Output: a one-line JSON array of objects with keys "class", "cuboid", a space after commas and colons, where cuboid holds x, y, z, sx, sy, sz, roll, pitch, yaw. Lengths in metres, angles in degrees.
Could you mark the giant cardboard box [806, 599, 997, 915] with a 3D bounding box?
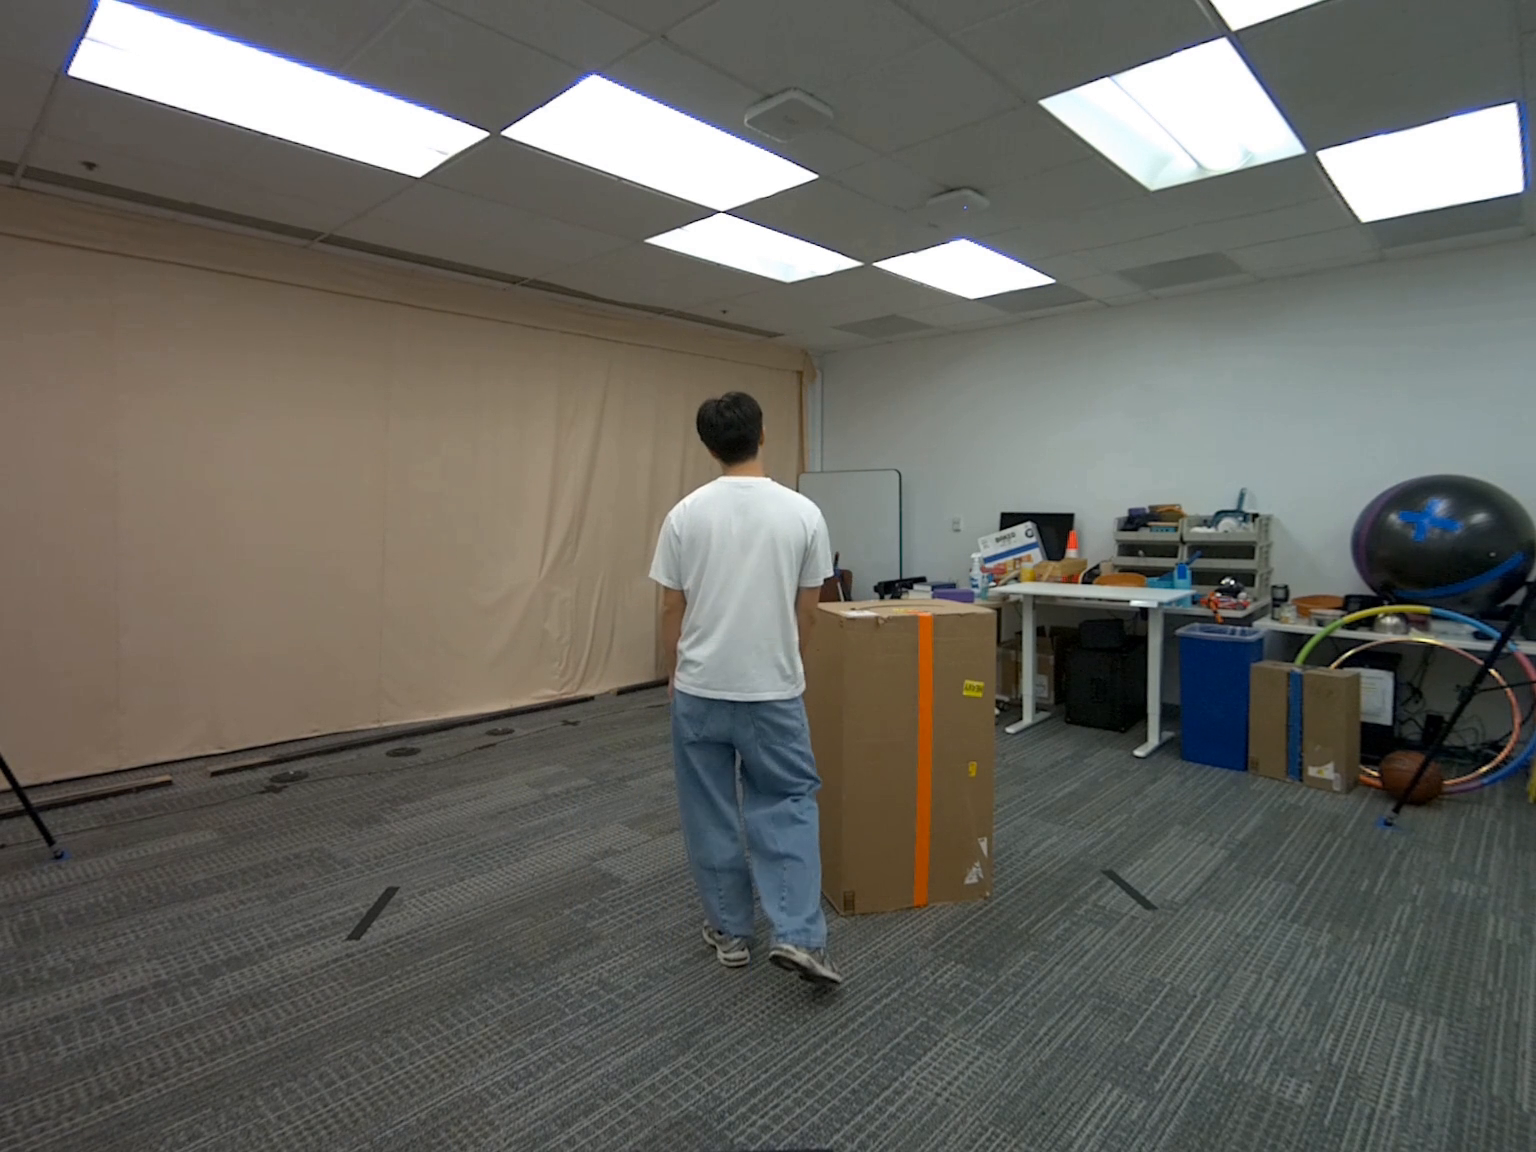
[{"class": "giant cardboard box", "cuboid": [0.466, 0.622, 3.095, 0.568, 1.024, 0.434, -1, 3, -17]}]
